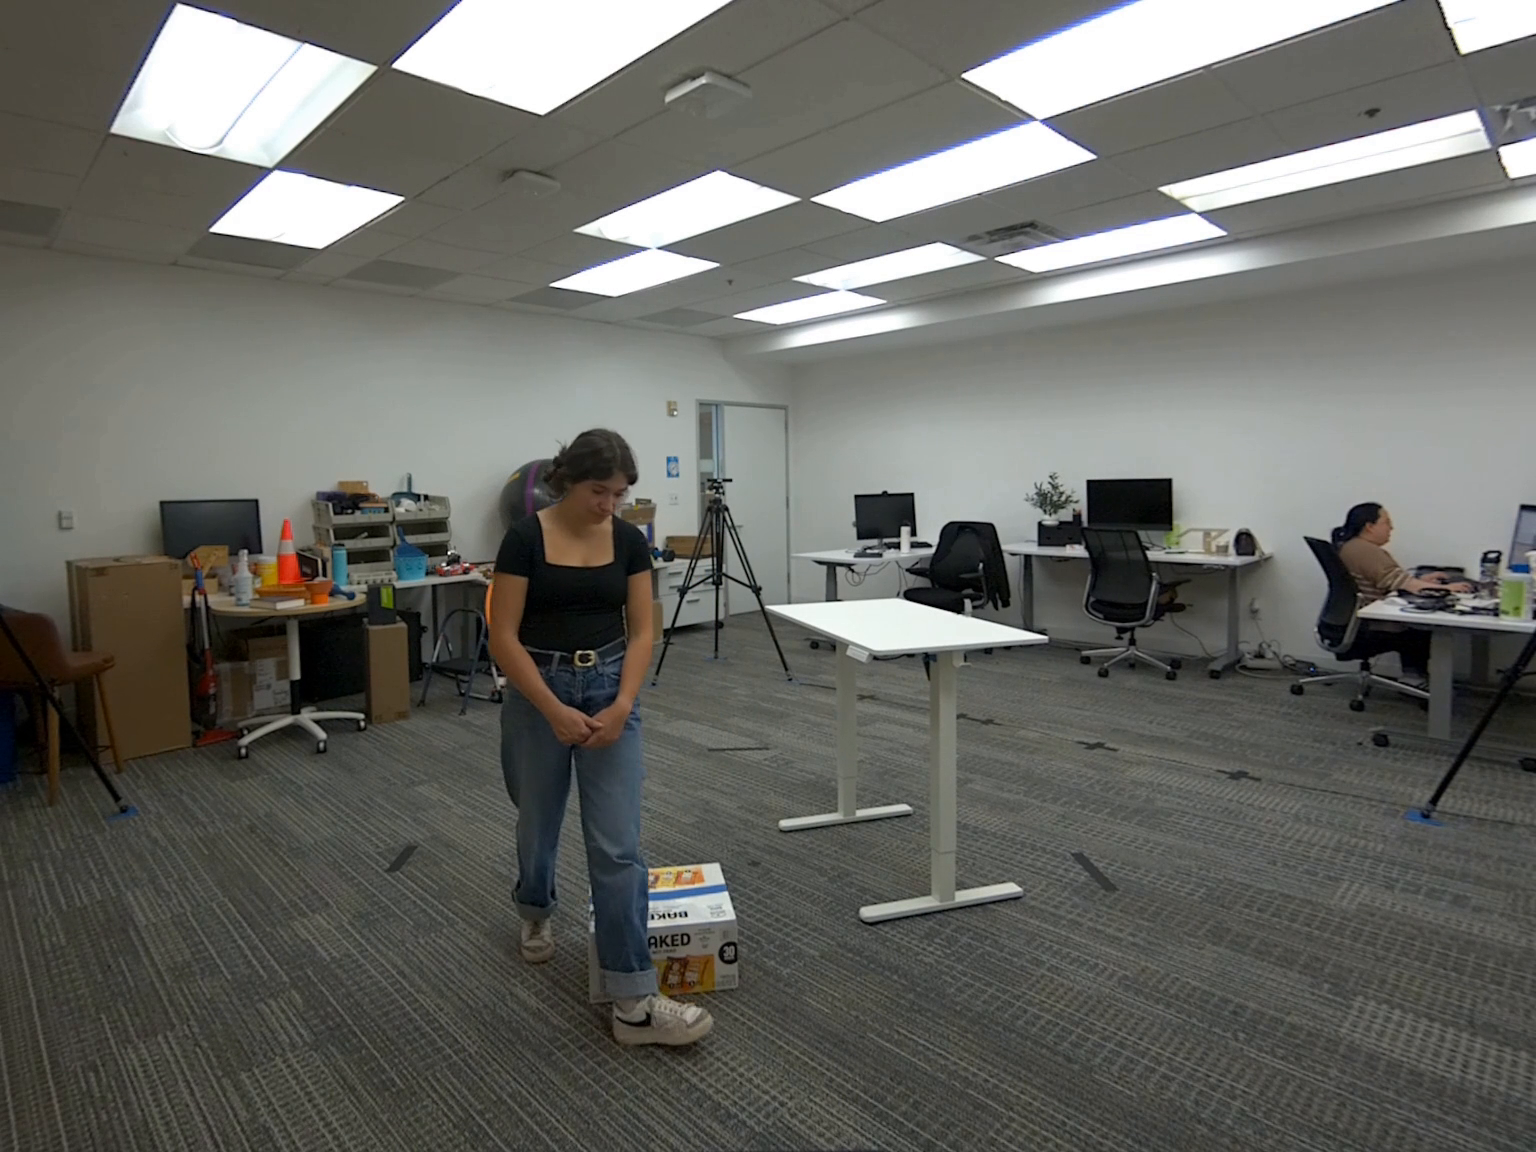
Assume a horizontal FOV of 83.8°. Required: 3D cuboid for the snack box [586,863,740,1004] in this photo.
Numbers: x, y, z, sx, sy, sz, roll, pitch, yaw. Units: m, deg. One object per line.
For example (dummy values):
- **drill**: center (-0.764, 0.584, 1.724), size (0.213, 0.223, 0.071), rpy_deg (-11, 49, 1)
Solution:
- **snack box**: center (-0.306, 1.025, 2.470), size (0.402, 0.205, 0.345), rpy_deg (-3, 6, -10)
